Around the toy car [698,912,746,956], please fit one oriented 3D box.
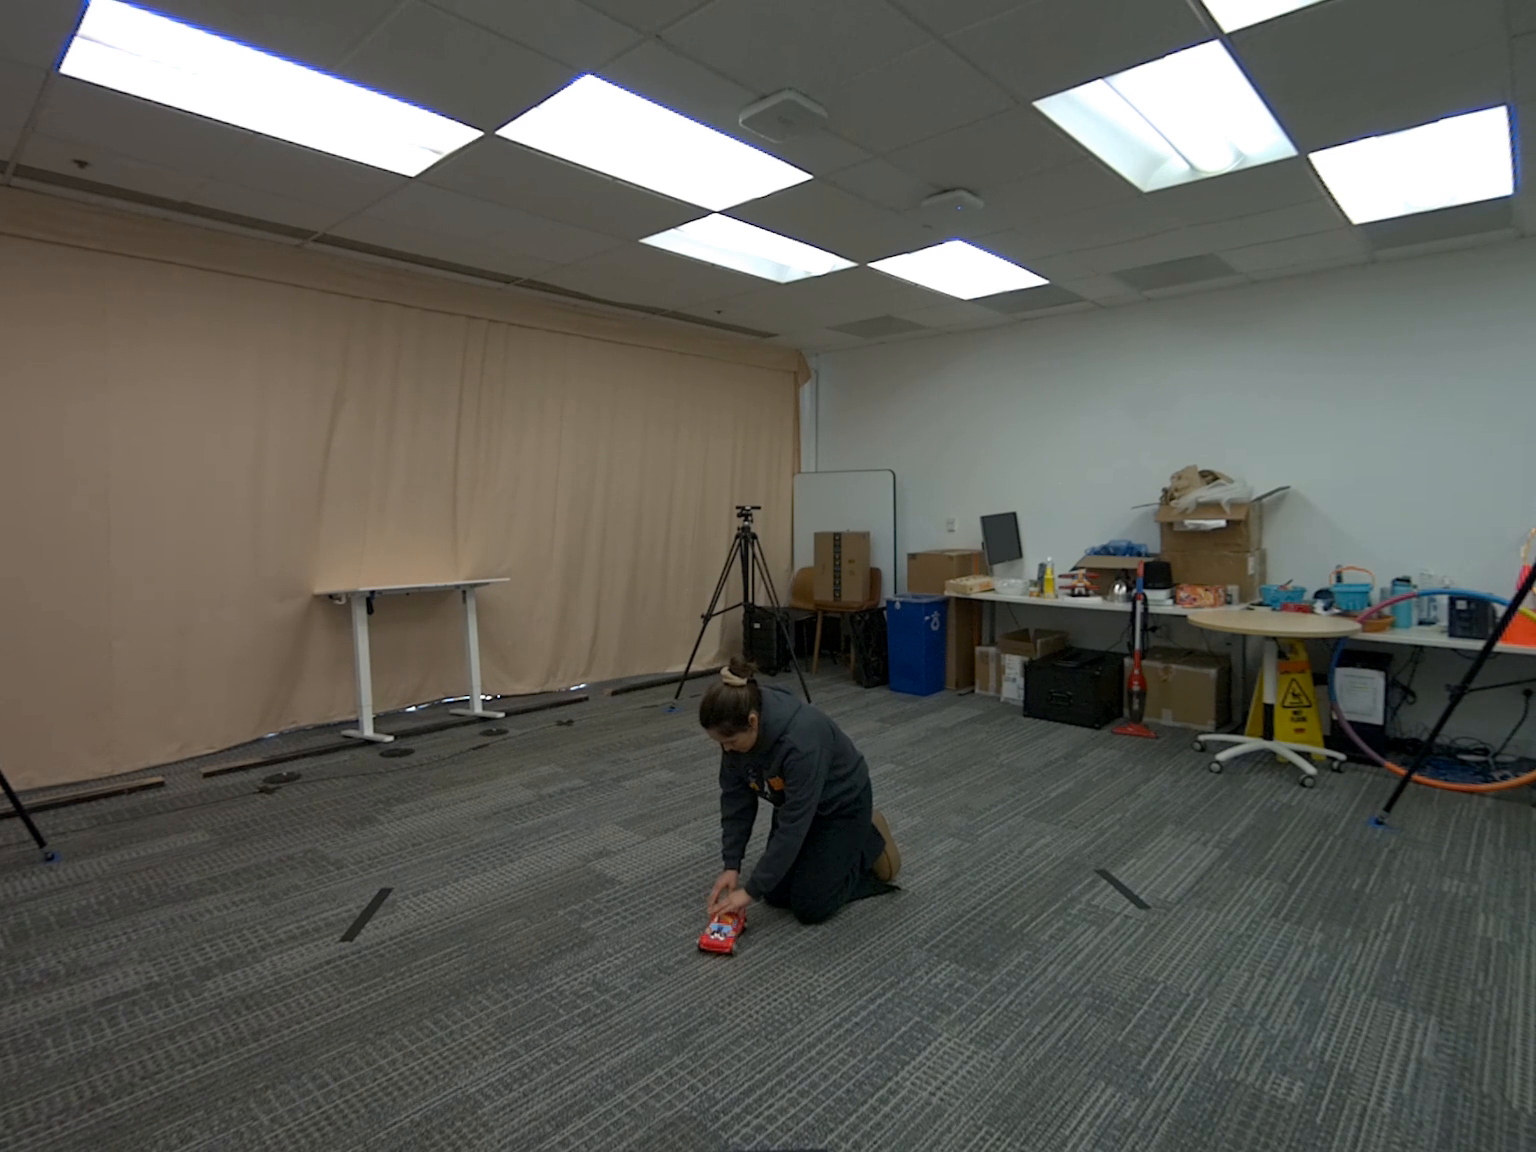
[{"bbox_3d":[-0.111,1.136,2.711,0.132,0.082,0.253,0,16,14],"label":"toy car"}]
